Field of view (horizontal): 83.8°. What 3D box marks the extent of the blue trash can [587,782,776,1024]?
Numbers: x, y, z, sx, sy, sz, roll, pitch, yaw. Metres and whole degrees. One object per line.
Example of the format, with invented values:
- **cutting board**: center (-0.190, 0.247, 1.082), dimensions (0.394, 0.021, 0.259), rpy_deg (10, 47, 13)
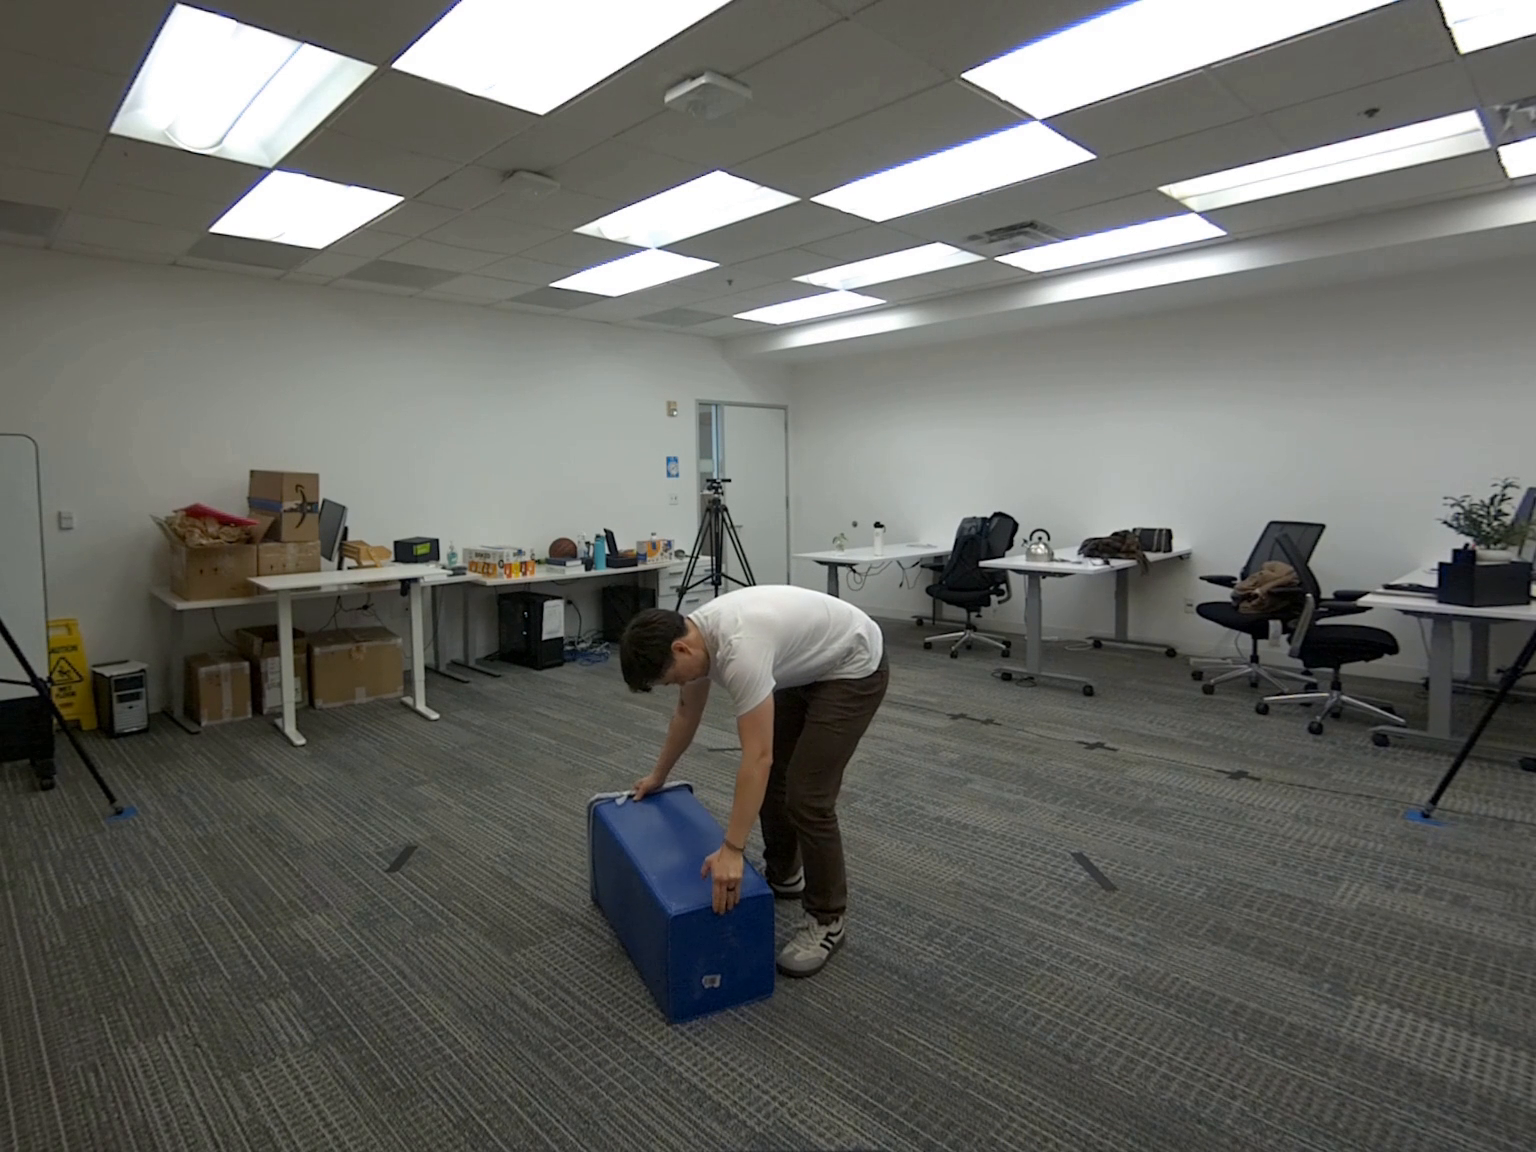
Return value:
- **blue trash can**: center (-0.269, 0.941, 2.557), dimensions (0.366, 0.376, 0.733), rpy_deg (-2, 9, -25)
